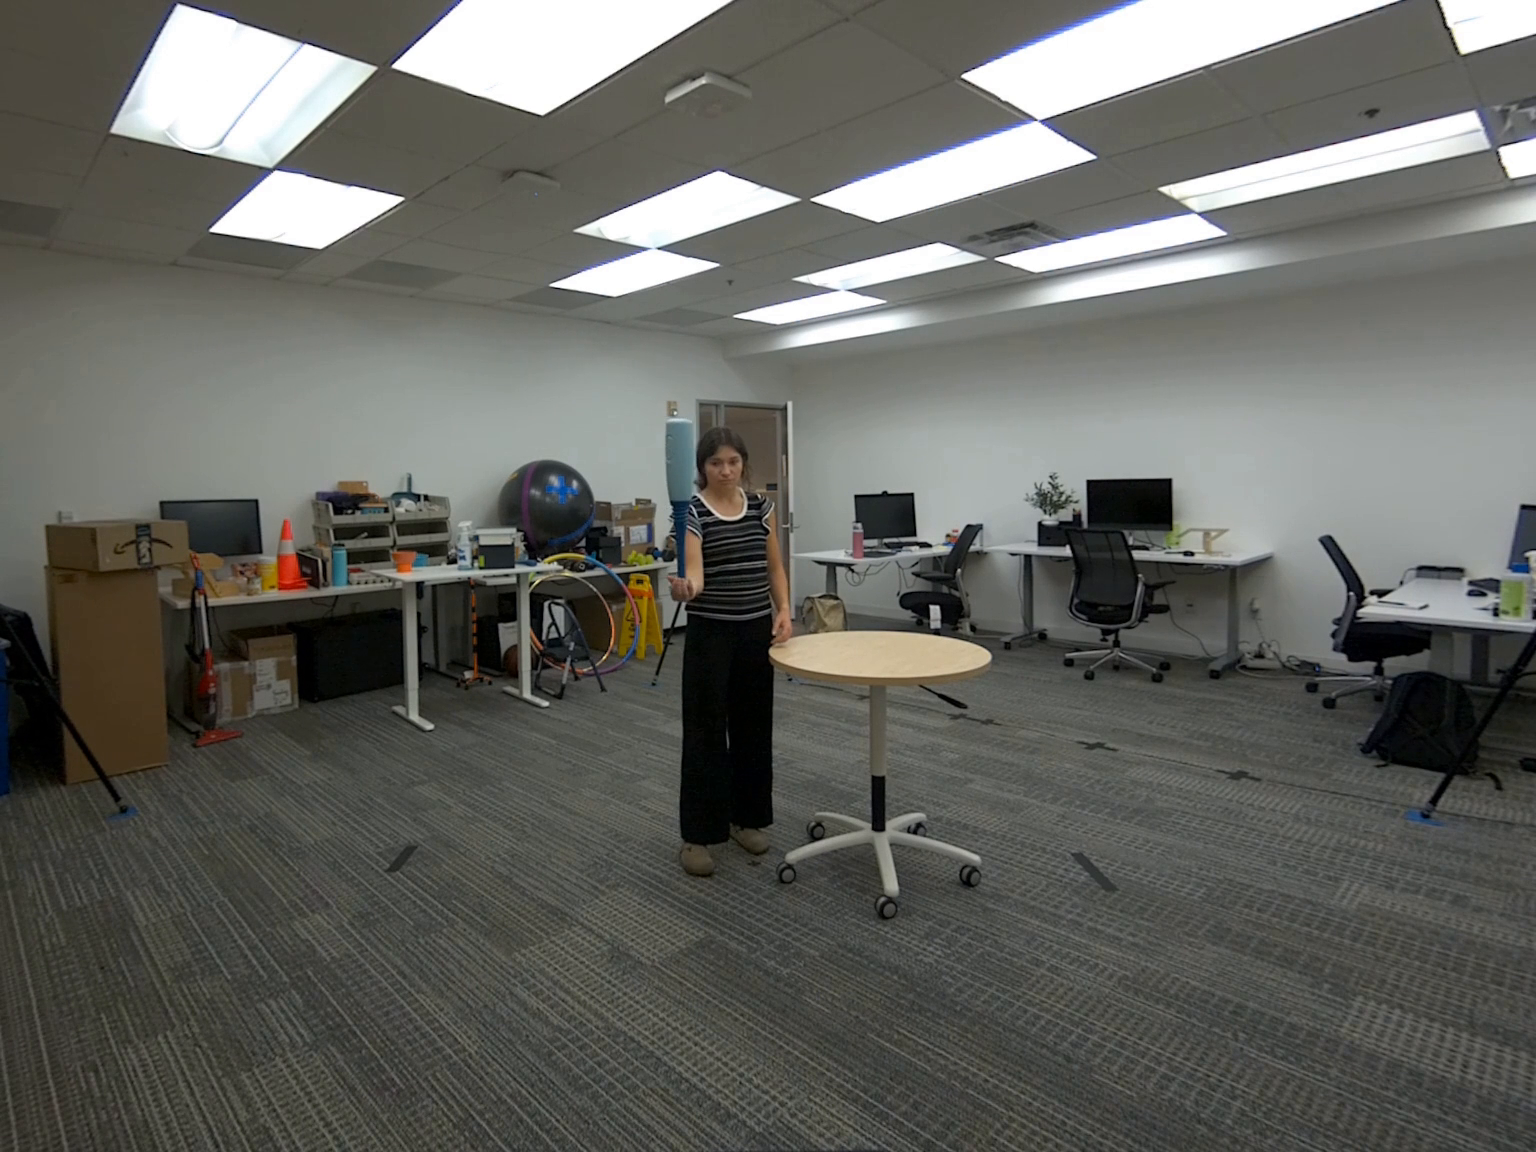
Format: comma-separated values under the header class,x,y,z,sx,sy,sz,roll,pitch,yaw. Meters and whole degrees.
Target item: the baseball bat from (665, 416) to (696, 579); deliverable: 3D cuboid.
class,x,y,z,sx,sy,sz,roll,pitch,yaw
baseball bat,-0.274,-0.217,2.675,0.089,0.539,0.090,-1,8,-1
